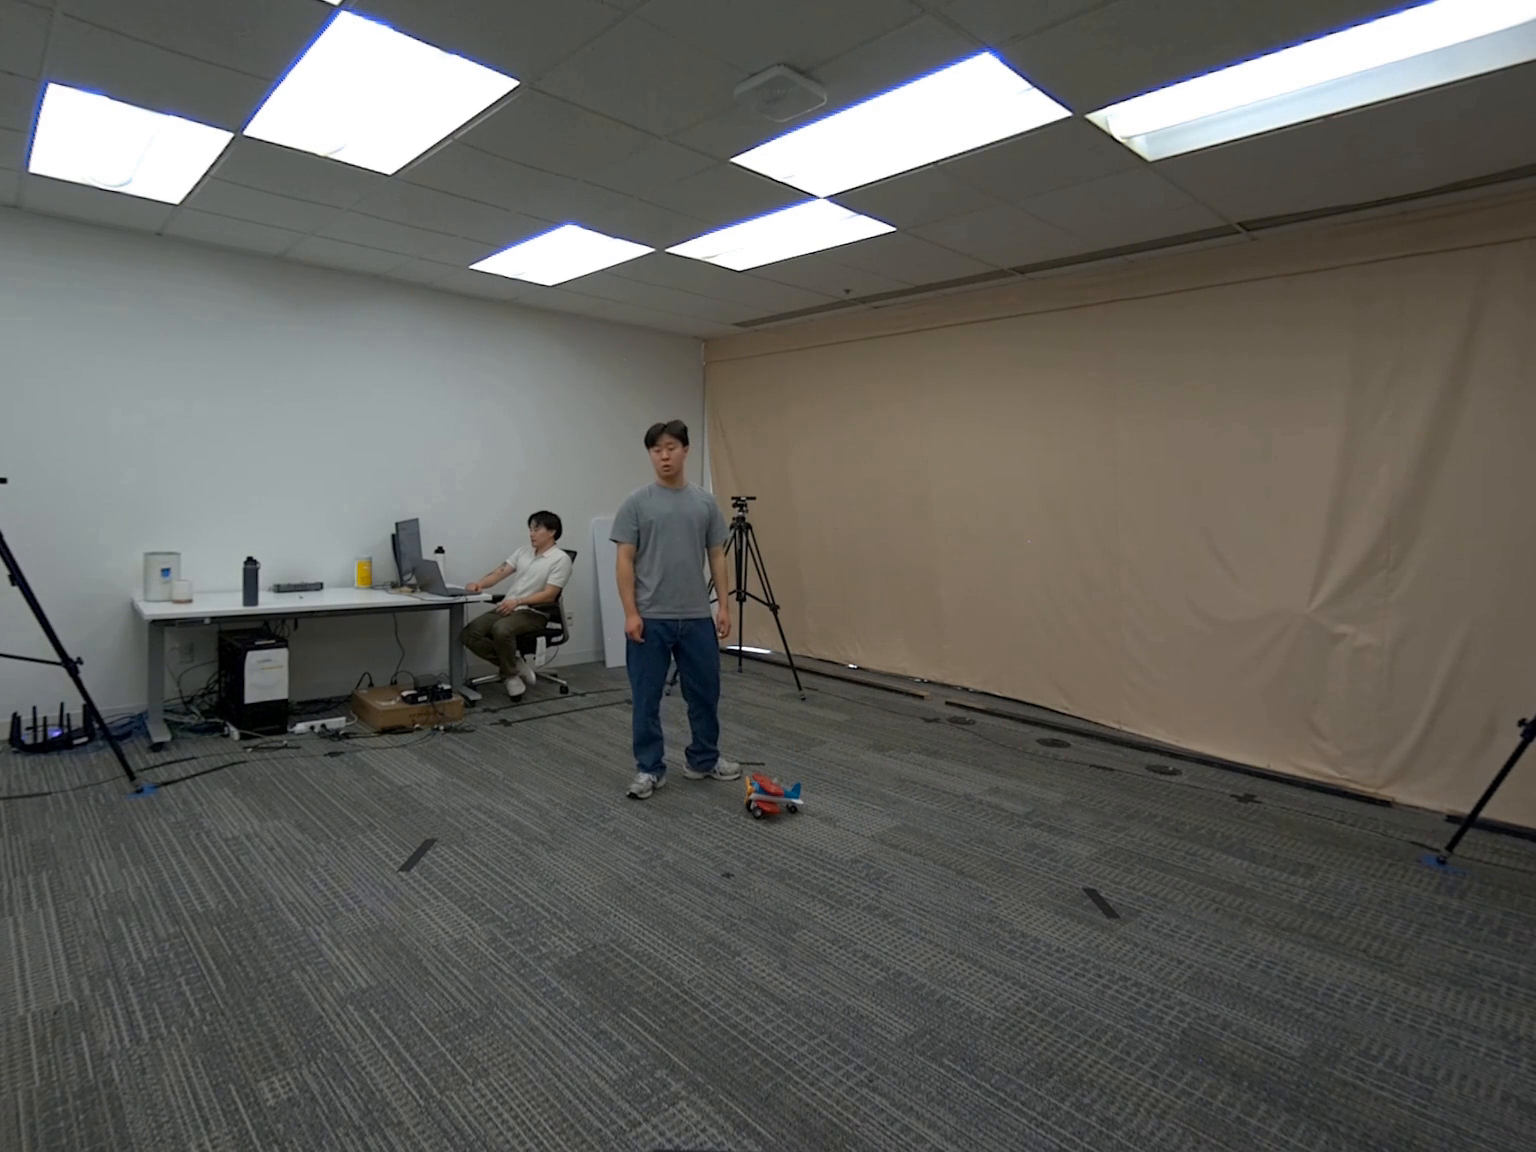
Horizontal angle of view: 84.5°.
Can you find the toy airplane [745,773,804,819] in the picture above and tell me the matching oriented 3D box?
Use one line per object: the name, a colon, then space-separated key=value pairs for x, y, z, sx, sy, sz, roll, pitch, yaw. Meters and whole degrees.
toy airplane: x=0.008 y=0.983 z=3.757 sx=0.257 sy=0.156 sz=0.253 roll=6 pitch=7 yaw=43
